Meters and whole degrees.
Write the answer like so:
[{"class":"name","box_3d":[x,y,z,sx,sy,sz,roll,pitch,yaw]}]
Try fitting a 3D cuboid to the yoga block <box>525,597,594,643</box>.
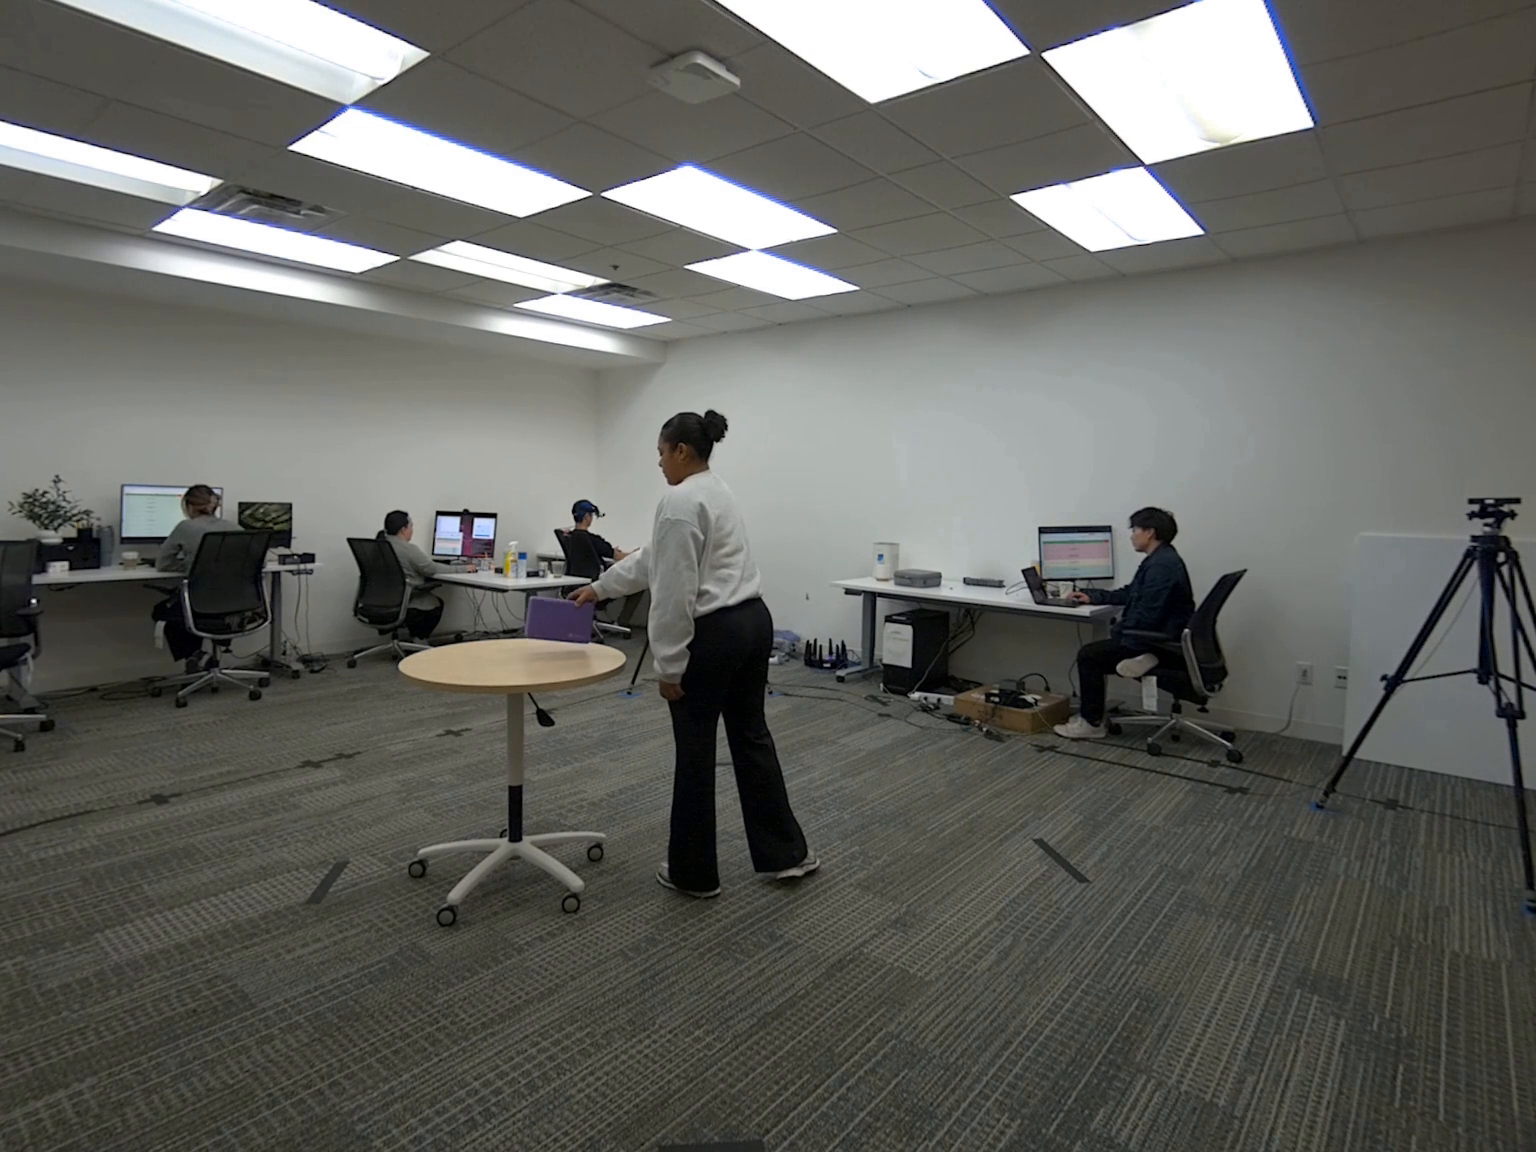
[{"class":"yoga block","box_3d":[-0.758,0.152,3.089,0.224,0.149,0.078,8,-2,-18]}]
